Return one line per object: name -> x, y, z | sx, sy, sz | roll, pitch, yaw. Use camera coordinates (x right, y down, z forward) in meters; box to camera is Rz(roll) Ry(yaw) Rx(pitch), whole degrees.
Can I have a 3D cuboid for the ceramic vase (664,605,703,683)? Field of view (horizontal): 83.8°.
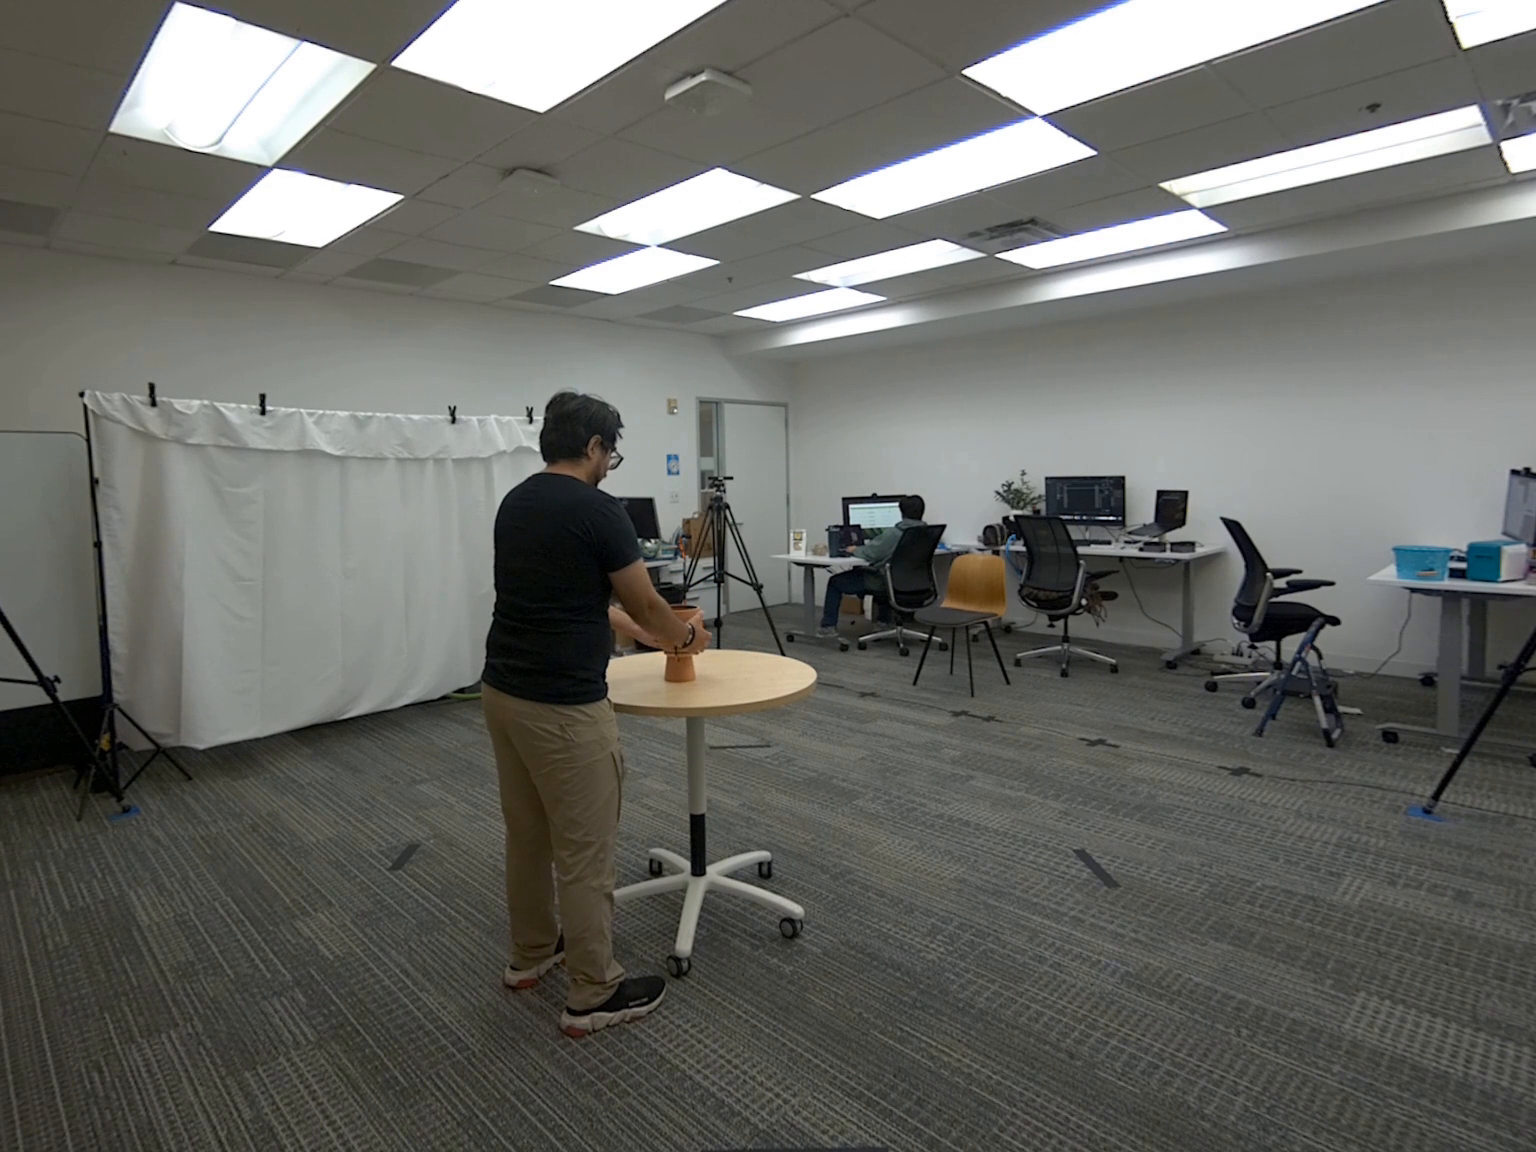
ceramic vase -> -0.268, 0.210, 2.612 | 0.133, 0.218, 0.162 | -5, 6, -15
